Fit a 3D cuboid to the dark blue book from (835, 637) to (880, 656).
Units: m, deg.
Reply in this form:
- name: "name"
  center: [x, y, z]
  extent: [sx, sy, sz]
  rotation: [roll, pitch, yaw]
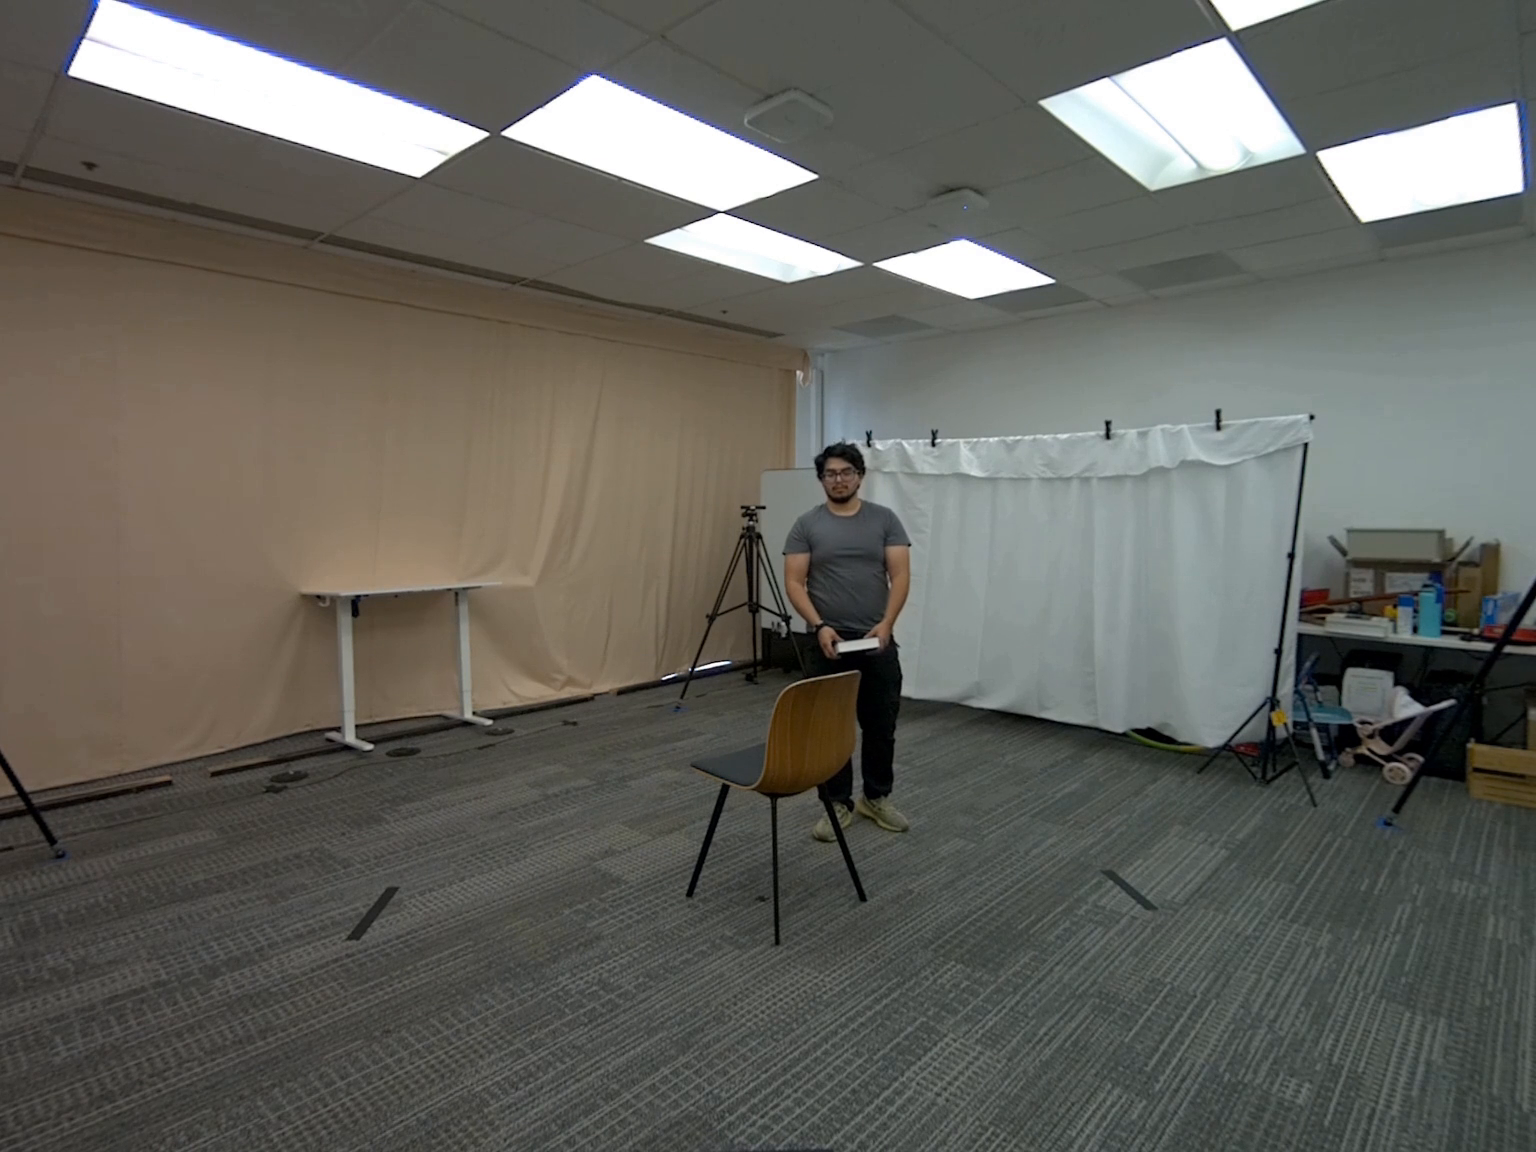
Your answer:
- name: "dark blue book"
  center: [0.351, 0.279, 3.302]
  extent: [0.165, 0.045, 0.241]
  rotation: [-8, -10, 9]
